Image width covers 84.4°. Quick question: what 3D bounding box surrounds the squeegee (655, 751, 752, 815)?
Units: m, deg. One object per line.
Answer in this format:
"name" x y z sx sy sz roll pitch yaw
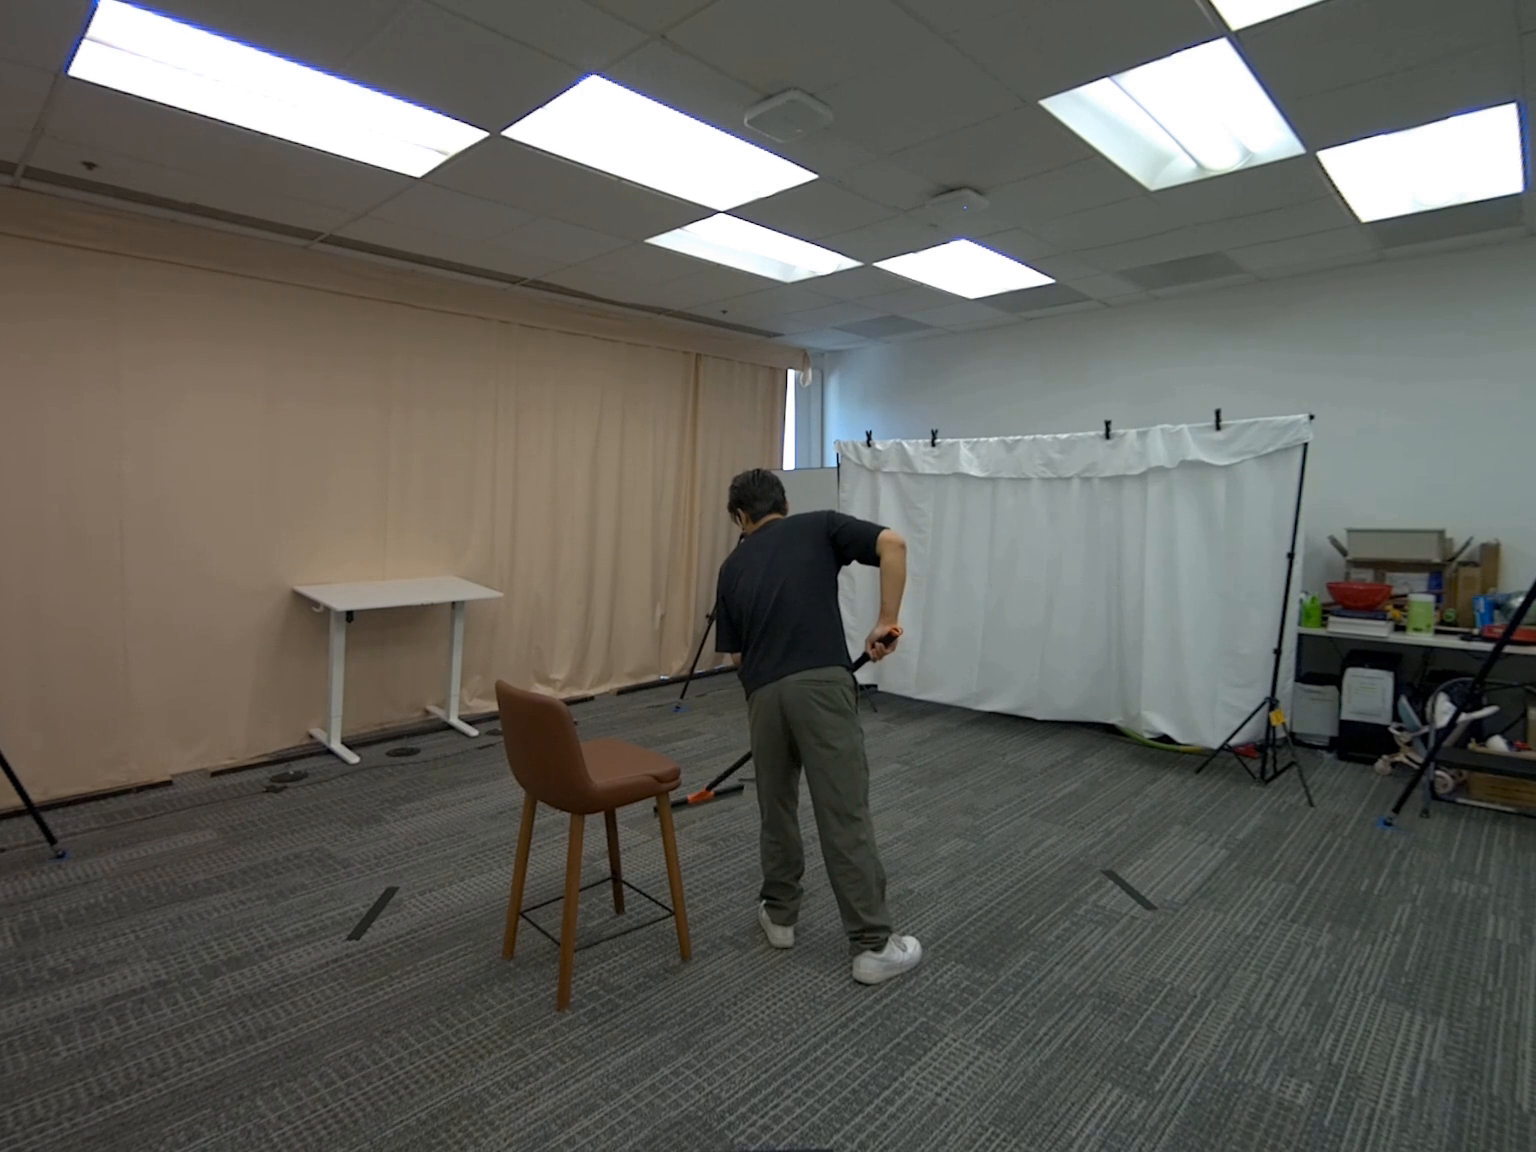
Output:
"squeegee" 0.059 0.533 3.006 0.425 0.054 1.546 -5 -28 -34
